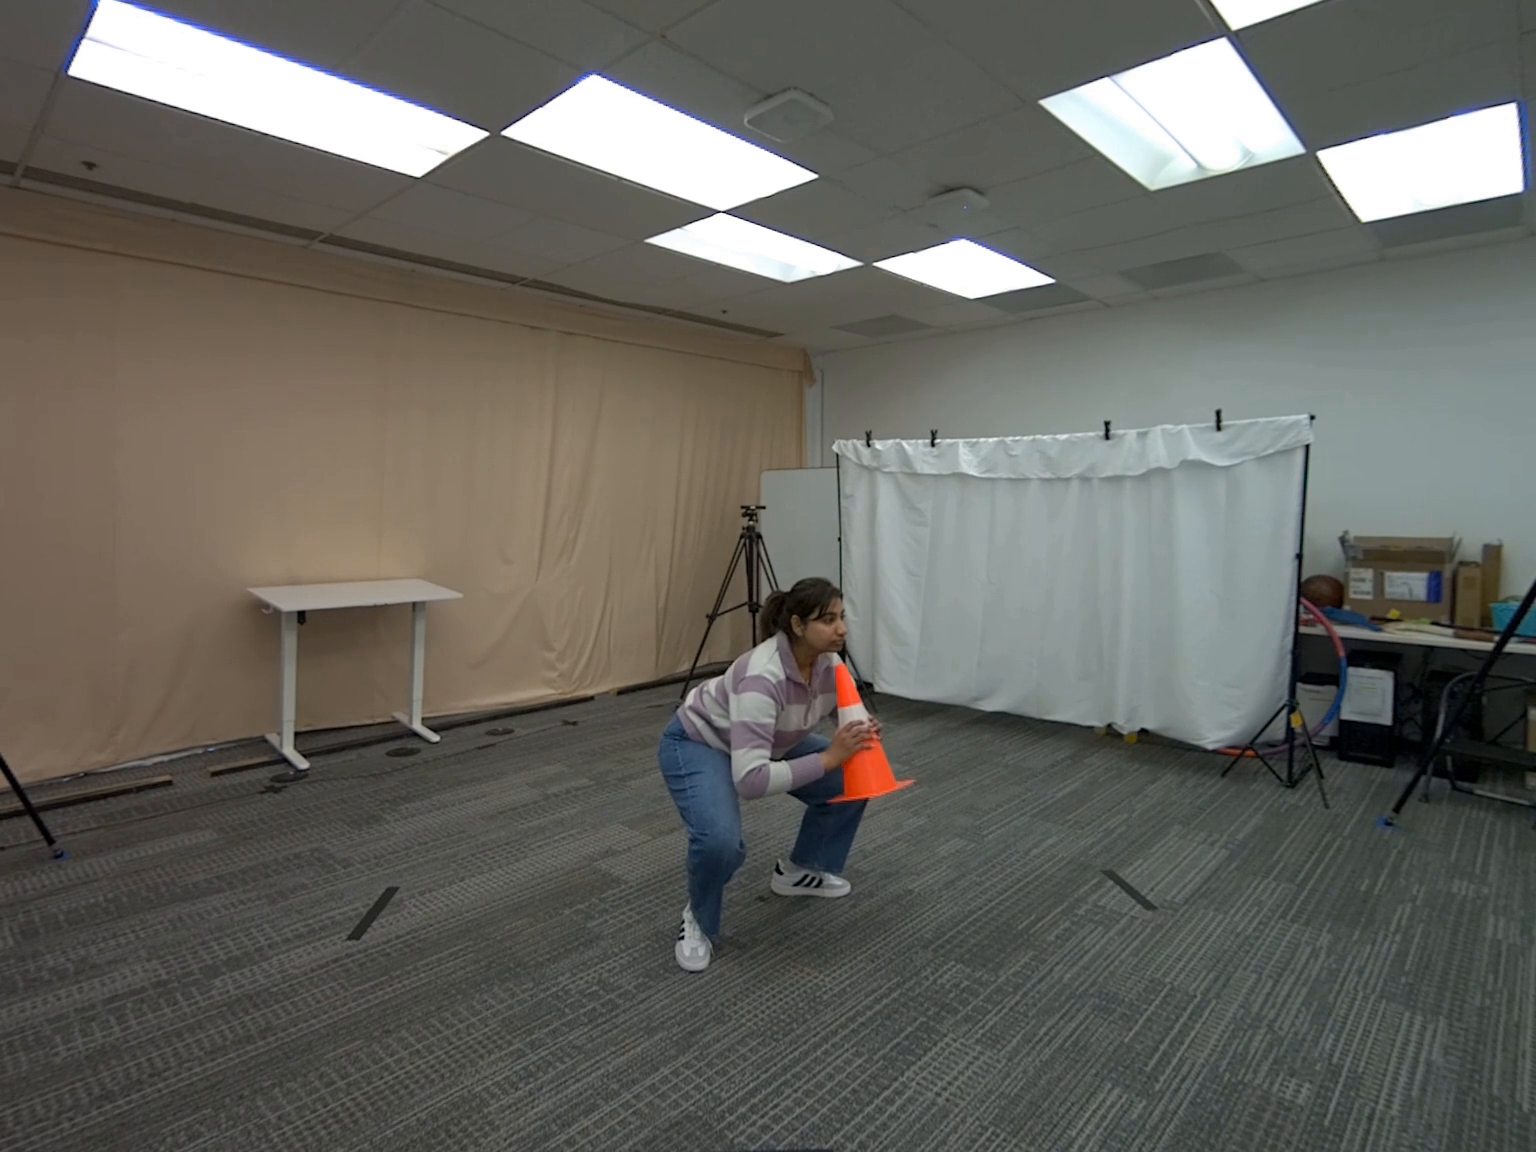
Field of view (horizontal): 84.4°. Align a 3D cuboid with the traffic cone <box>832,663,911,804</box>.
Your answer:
[{"bbox_3d":[0.264,0.457,2.519,0.199,0.387,0.208,-4,-12,-44],"label":"traffic cone"}]
